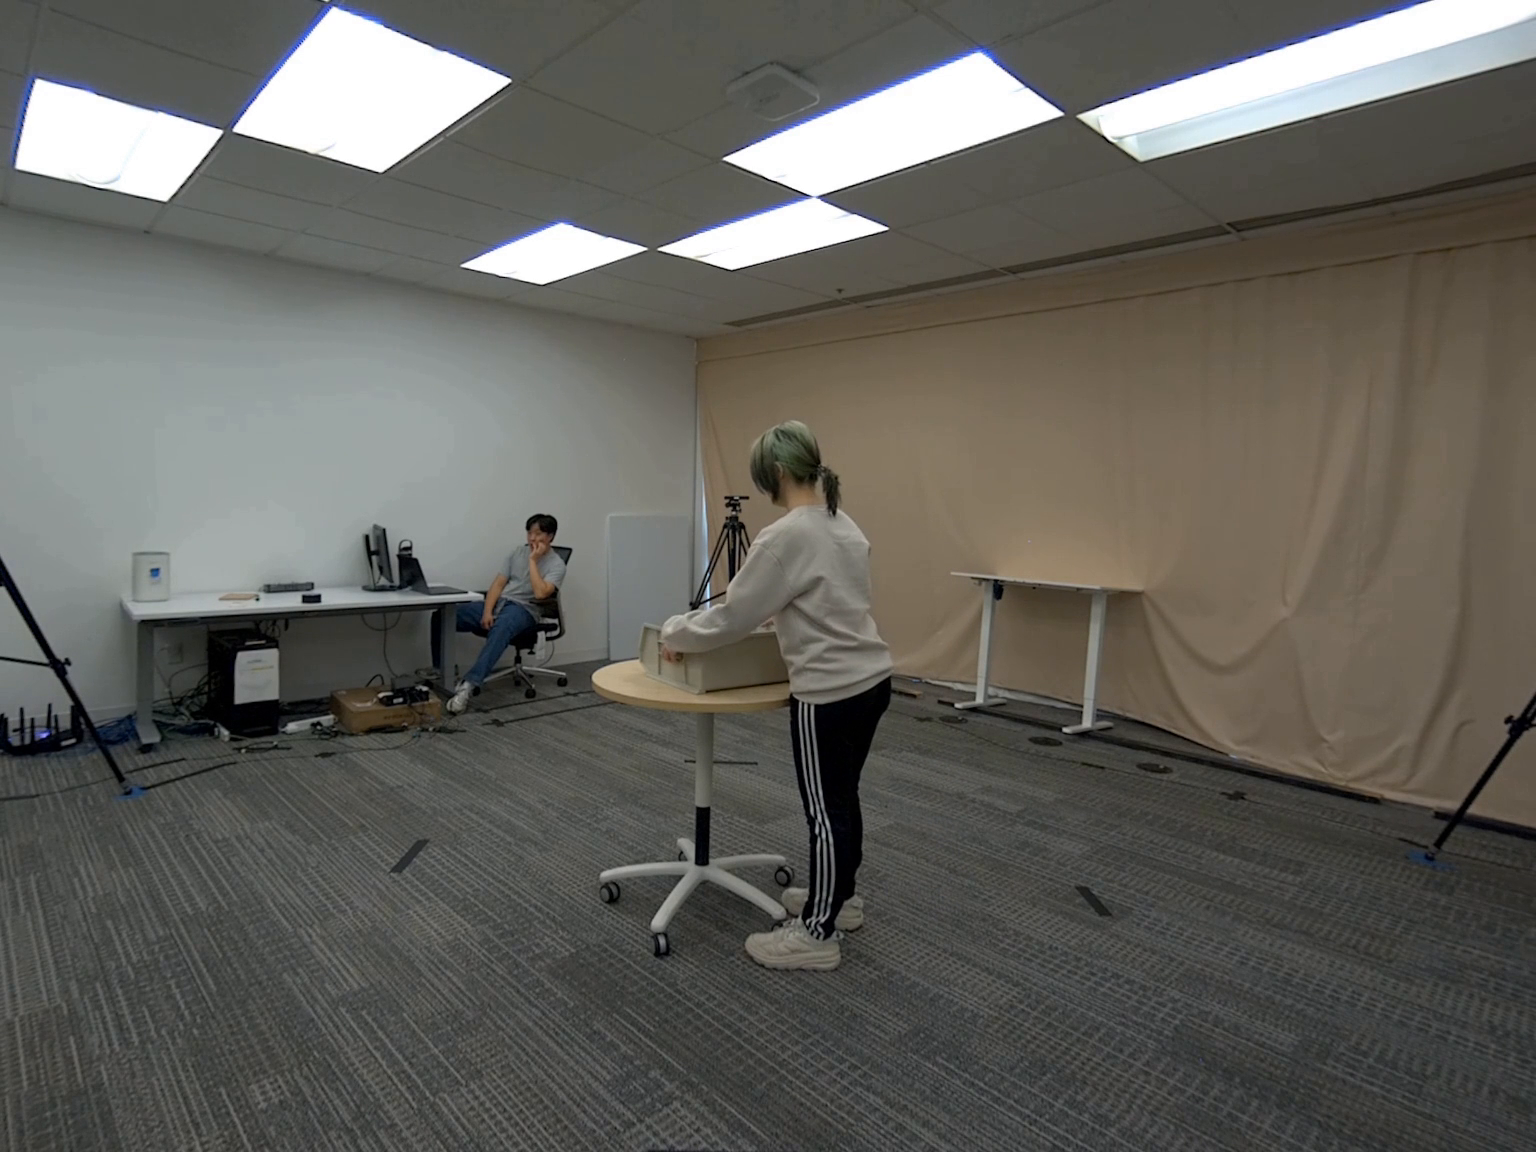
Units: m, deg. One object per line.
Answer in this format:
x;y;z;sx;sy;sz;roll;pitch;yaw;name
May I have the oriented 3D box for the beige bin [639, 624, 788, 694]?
-0.161;0.251;2.828;0.413;0.188;0.387;0;6;-35;beige bin
